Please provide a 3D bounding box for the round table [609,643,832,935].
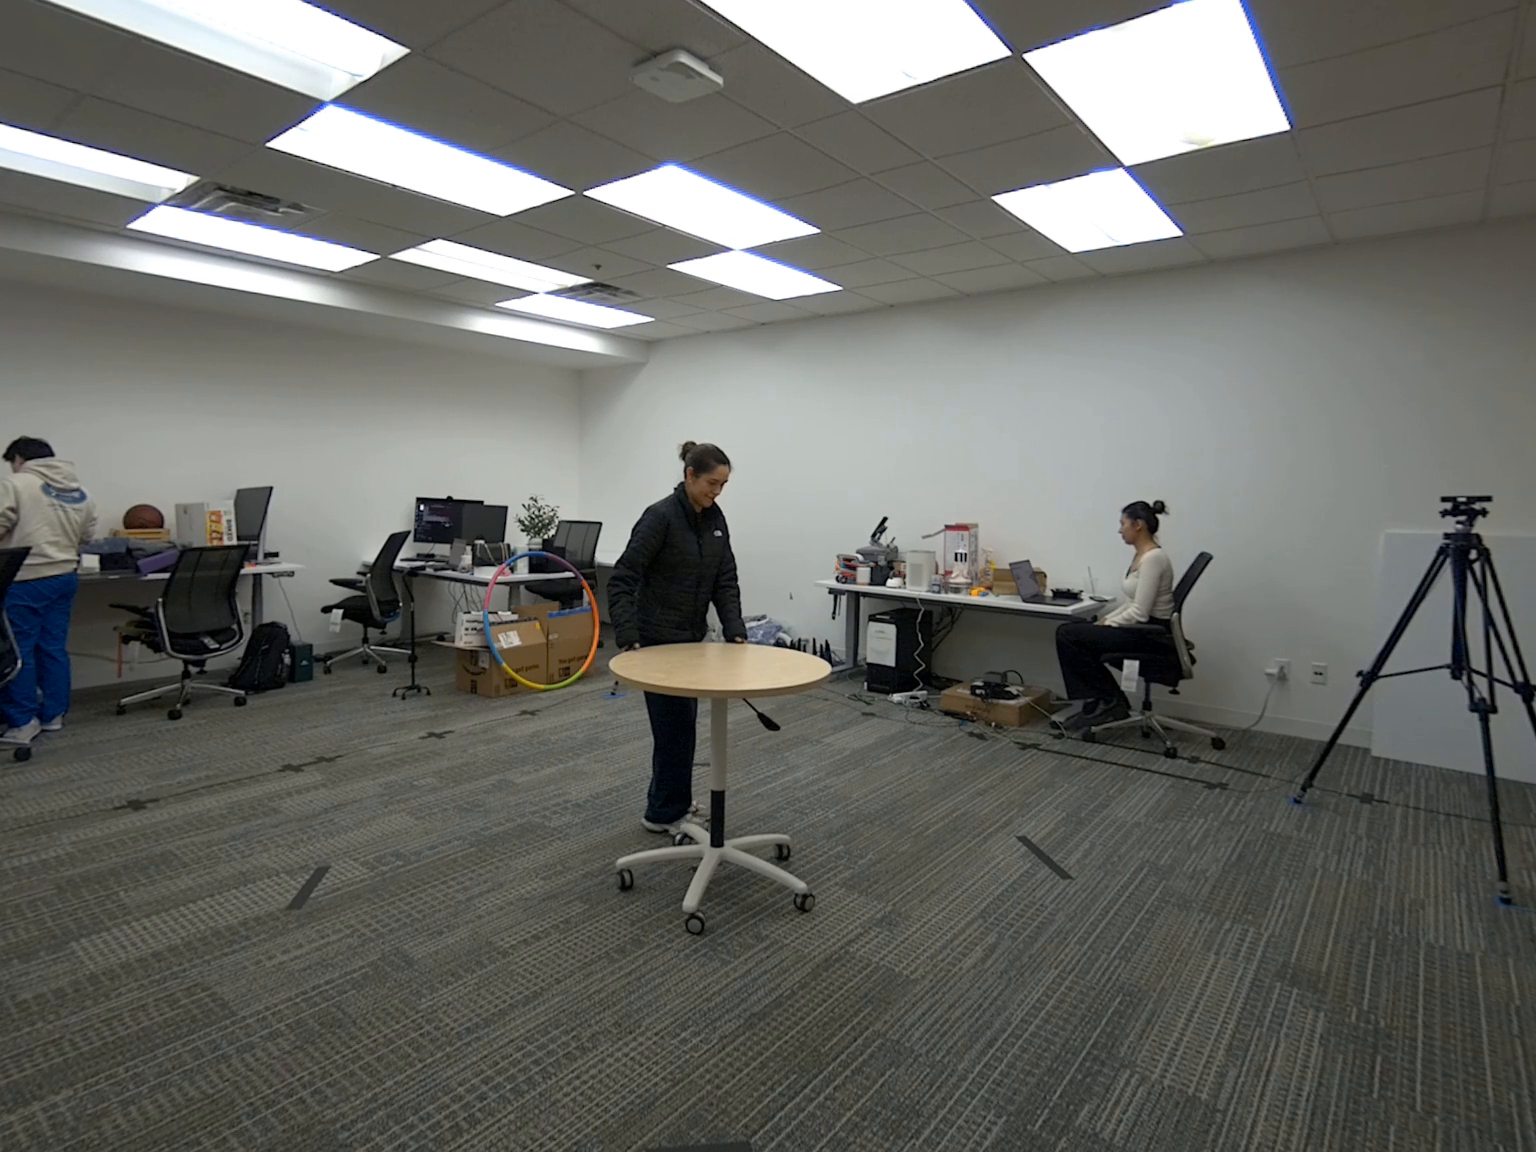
[{"bbox_3d":[-0.167,0.686,2.964,0.784,0.784,0.789,1,4,-2],"label":"round table"}]
